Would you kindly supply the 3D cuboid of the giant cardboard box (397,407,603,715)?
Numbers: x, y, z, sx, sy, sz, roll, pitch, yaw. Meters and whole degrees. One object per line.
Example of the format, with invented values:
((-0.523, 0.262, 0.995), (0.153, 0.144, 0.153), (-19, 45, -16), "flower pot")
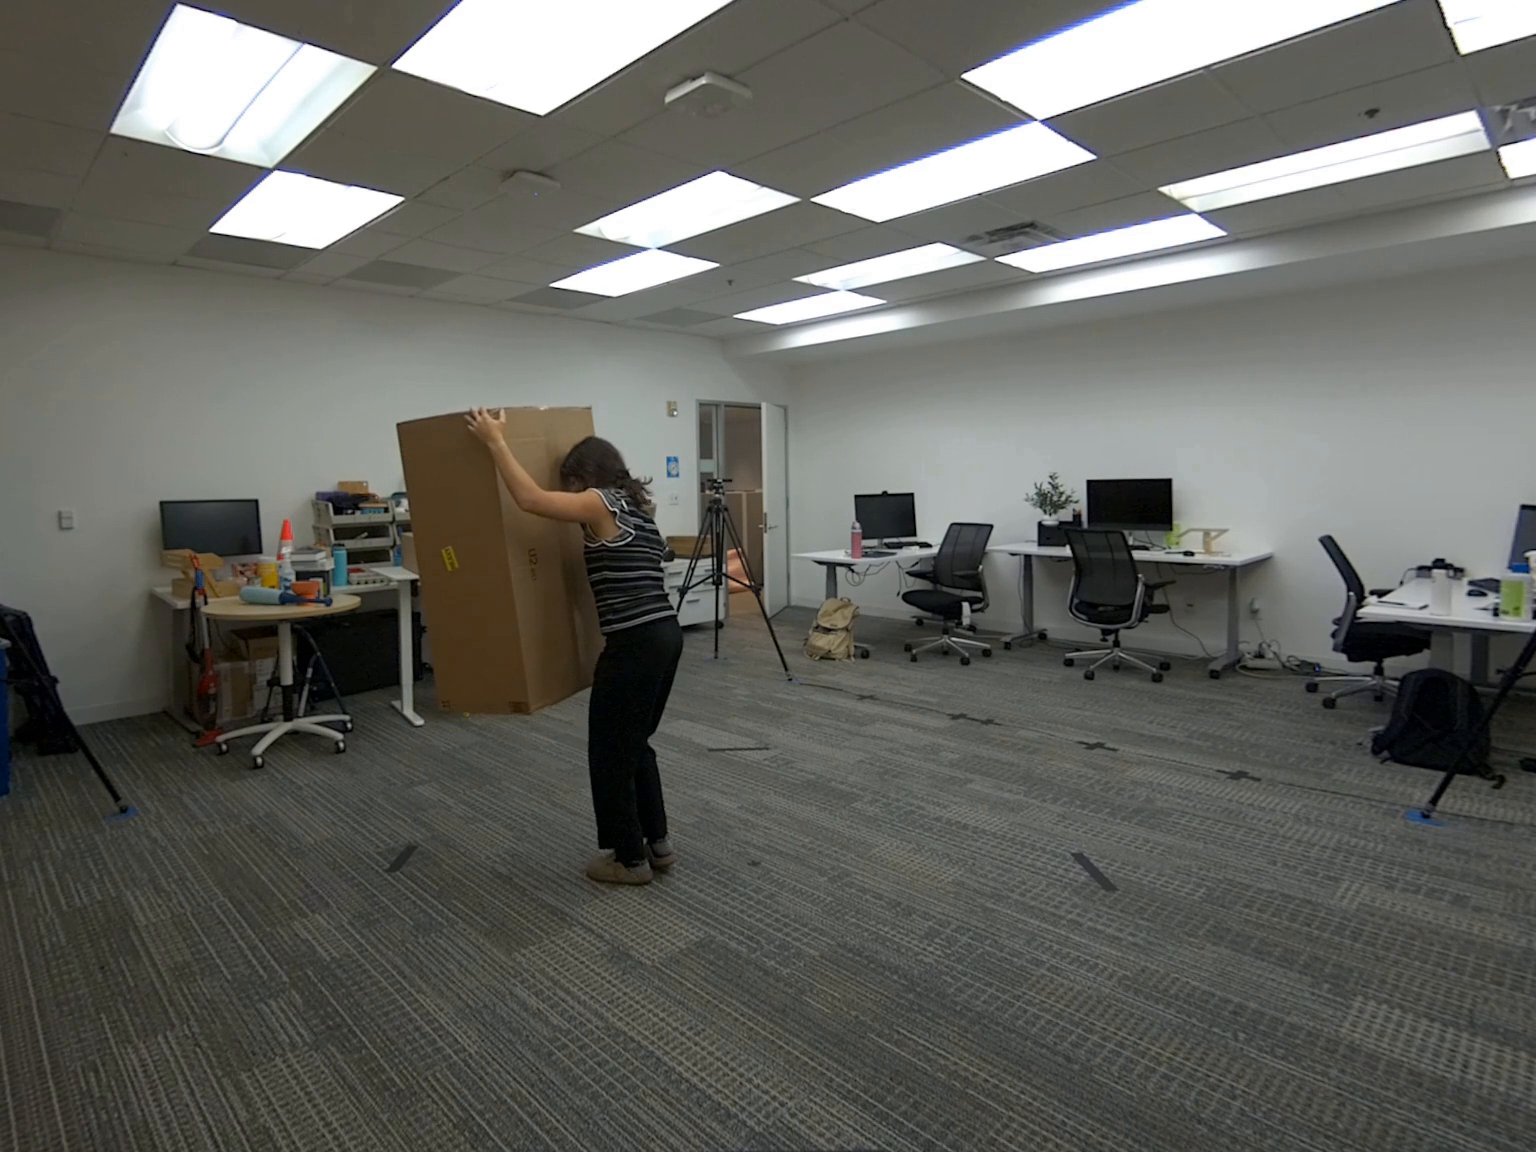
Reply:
((-0.916, -0.068, 3.128), (0.435, 1.019, 0.569), (-3, 7, 26), "giant cardboard box")
